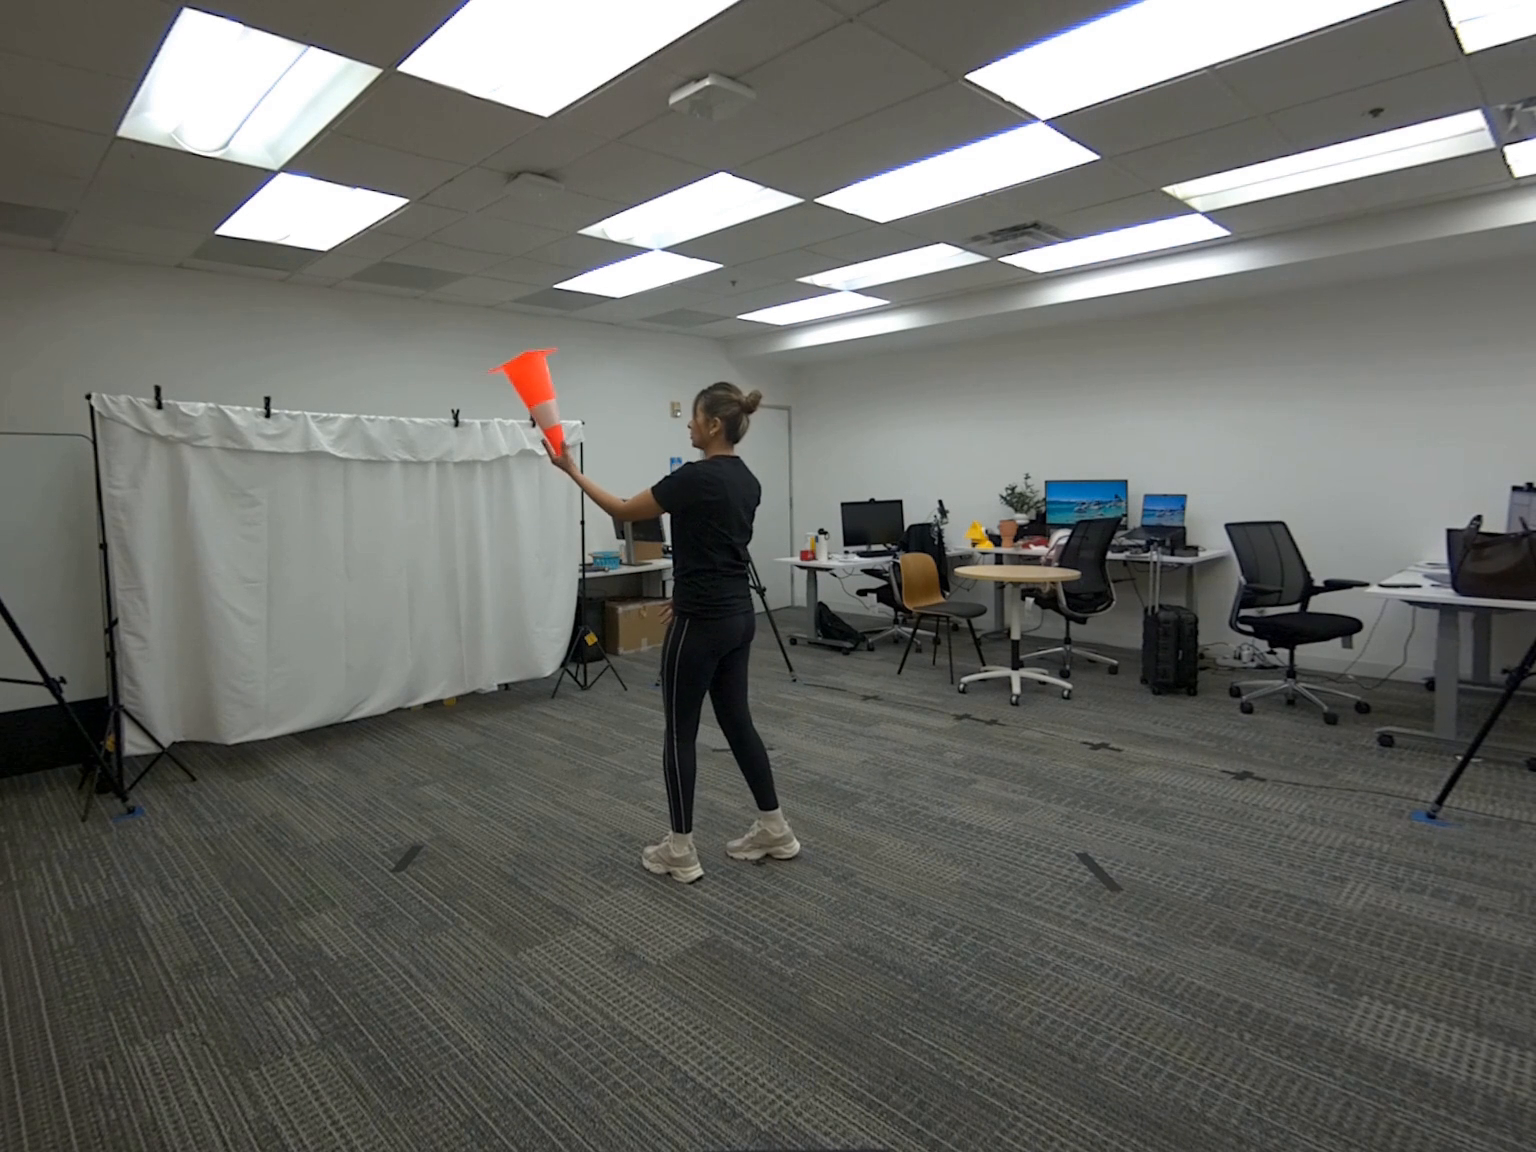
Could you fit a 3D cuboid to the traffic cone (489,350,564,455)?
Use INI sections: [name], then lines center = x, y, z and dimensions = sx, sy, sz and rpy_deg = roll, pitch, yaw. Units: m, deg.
[traffic cone]
center = -0.806, -0.578, 3.063
dimensions = 0.208, 0.380, 0.201
rpy_deg = -16, 8, 28
